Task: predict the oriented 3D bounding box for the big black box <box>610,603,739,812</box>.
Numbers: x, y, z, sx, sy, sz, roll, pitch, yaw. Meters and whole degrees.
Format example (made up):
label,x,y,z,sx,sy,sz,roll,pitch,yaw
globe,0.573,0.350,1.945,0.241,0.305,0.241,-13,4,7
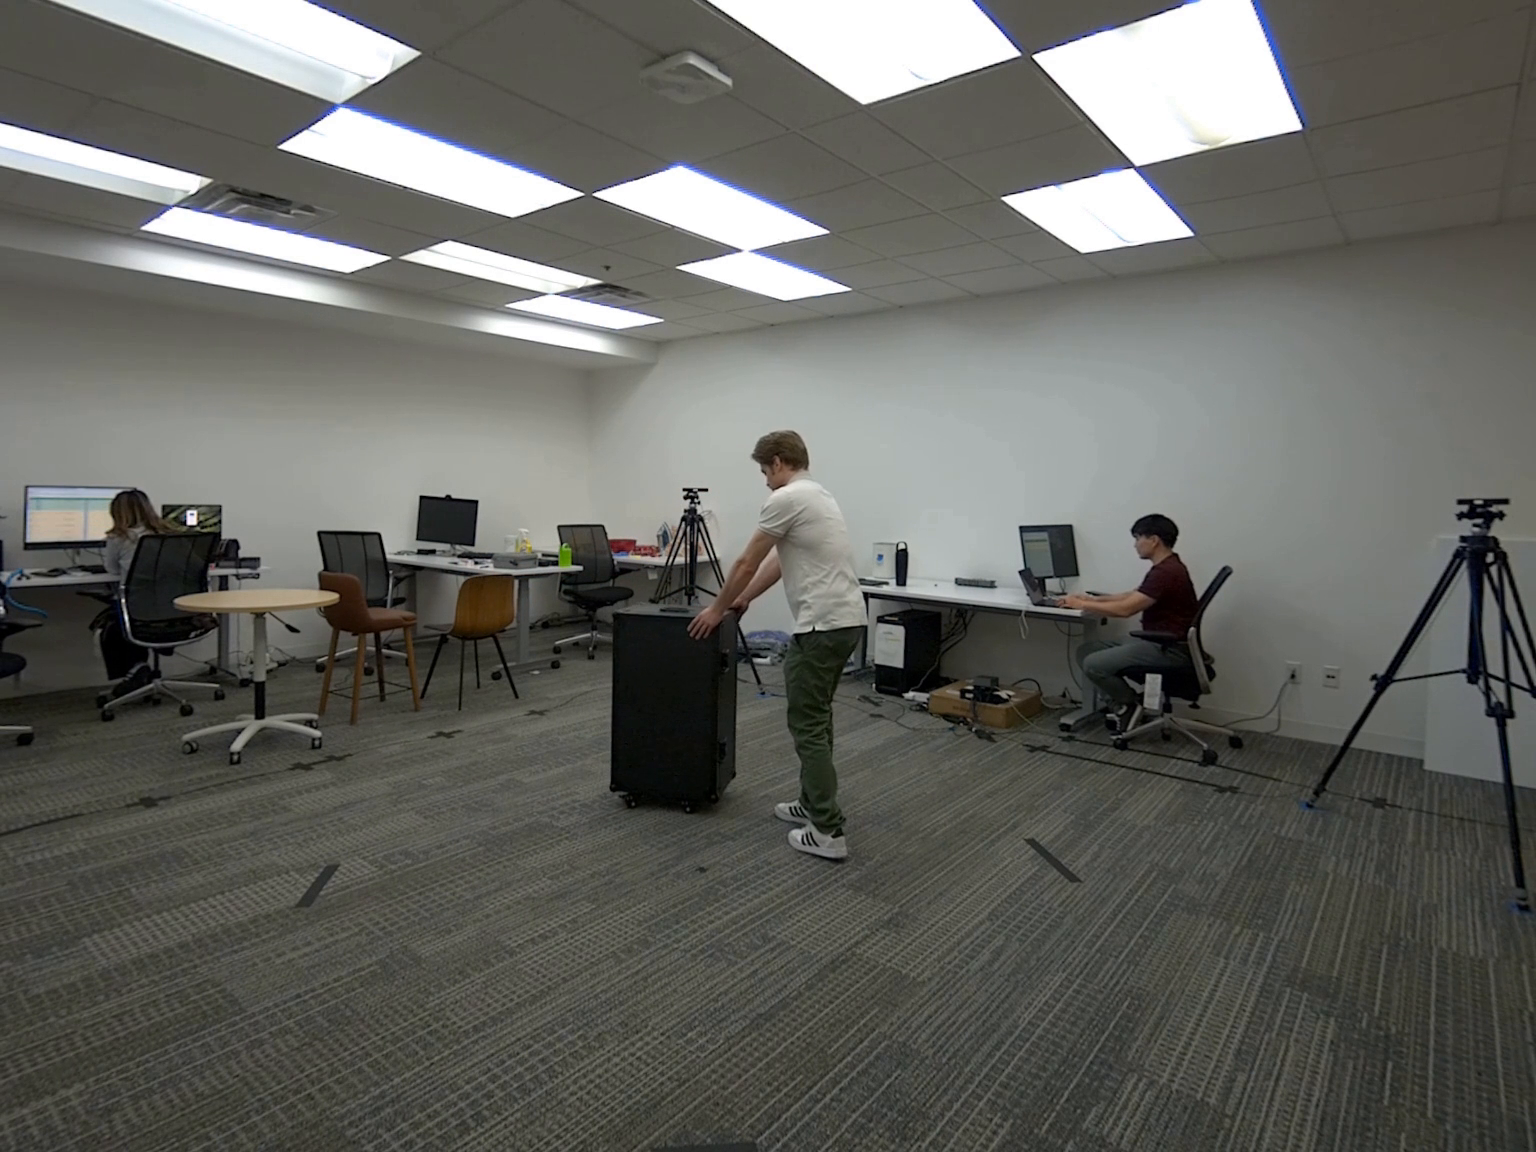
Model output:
label,x,y,z,sx,sy,sz,roll,pitch,yaw
big black box,-0.427,0.576,3.806,0.531,0.867,0.380,2,2,13
